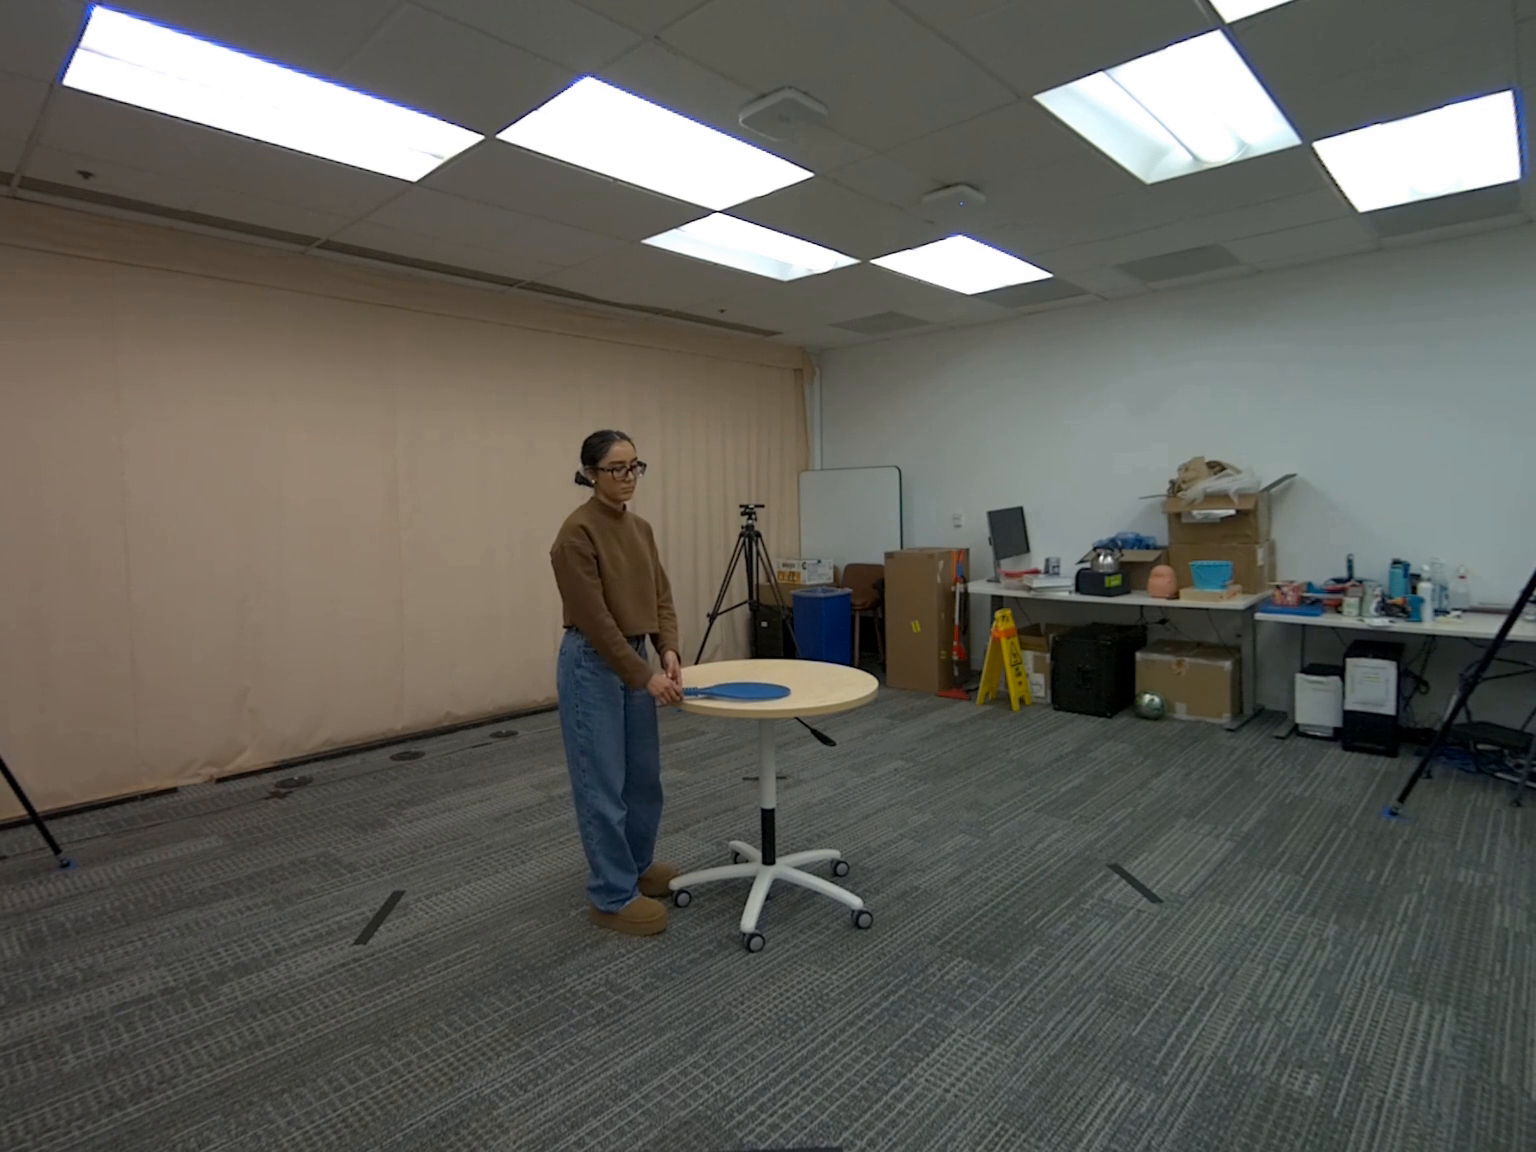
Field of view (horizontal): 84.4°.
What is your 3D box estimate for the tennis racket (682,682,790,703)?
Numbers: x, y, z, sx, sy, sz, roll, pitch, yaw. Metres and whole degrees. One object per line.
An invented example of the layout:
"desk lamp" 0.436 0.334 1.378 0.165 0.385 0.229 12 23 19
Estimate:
"tennis racket" -0.140 0.377 2.683 0.429 0.032 0.216 1 4 -9
